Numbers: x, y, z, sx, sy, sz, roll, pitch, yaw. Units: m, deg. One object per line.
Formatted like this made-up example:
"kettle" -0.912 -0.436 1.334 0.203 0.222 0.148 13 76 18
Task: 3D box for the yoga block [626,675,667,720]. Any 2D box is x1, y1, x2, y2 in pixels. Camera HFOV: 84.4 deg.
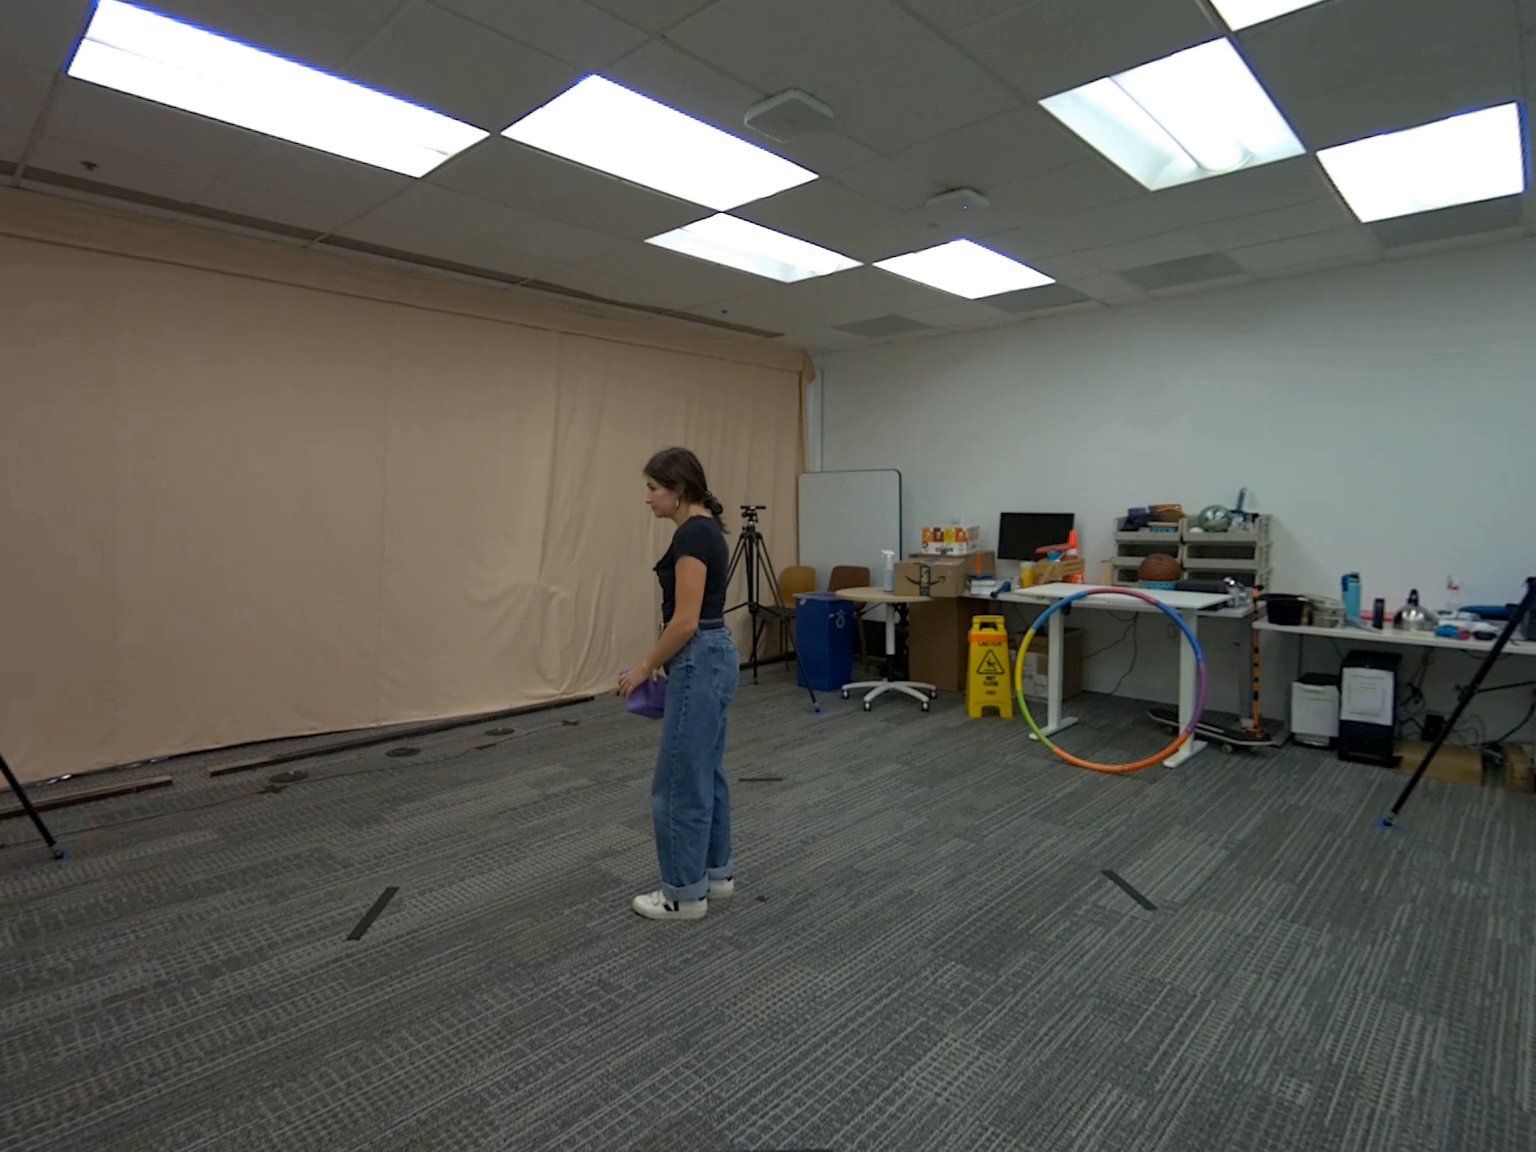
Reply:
"yoga block" -0.412 0.421 2.948 0.077 0.151 0.222 -16 -22 16
